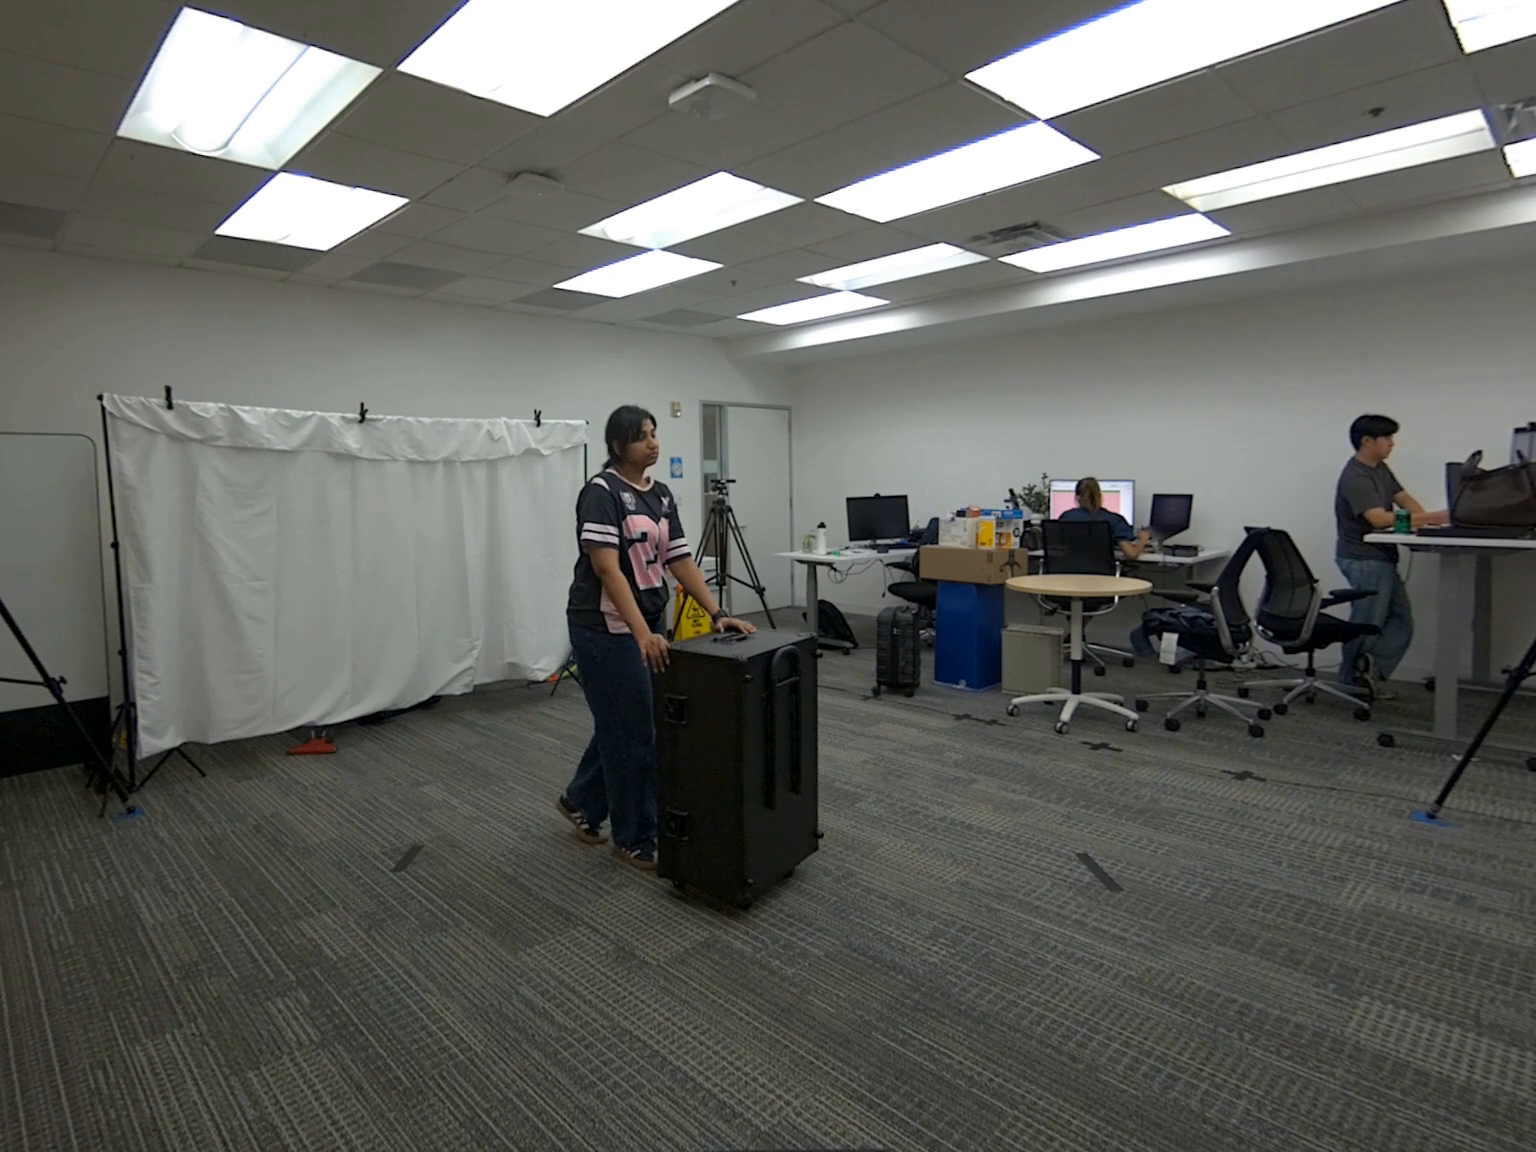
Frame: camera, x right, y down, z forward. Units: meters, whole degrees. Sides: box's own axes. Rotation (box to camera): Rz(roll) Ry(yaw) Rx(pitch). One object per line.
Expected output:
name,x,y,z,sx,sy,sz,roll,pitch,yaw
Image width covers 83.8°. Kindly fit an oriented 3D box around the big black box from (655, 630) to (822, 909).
big black box,-0.085,0.648,2.938,0.396,0.865,0.511,2,6,33
